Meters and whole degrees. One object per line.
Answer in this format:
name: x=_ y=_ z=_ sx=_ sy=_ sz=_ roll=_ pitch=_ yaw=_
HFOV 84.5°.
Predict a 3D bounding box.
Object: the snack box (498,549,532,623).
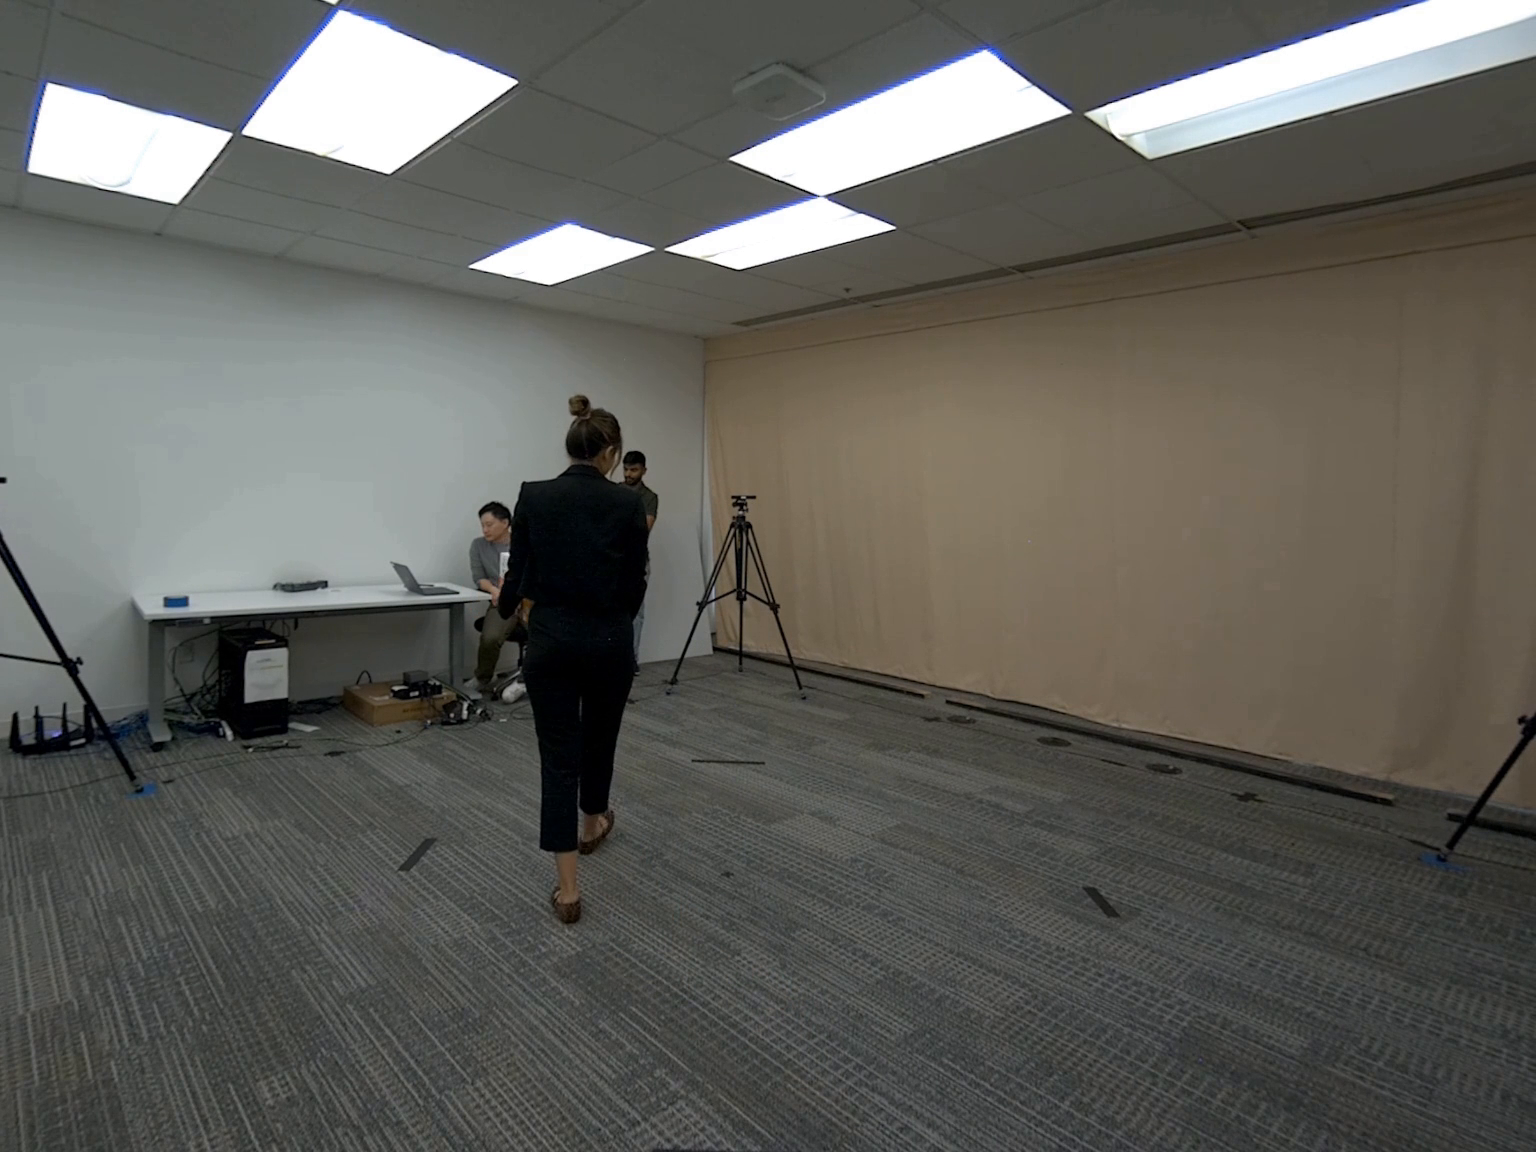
snack box: x=-0.786 y=0.030 z=3.269 sx=0.396 sy=0.204 sz=0.350 roll=-5 pitch=16 yaw=-37
